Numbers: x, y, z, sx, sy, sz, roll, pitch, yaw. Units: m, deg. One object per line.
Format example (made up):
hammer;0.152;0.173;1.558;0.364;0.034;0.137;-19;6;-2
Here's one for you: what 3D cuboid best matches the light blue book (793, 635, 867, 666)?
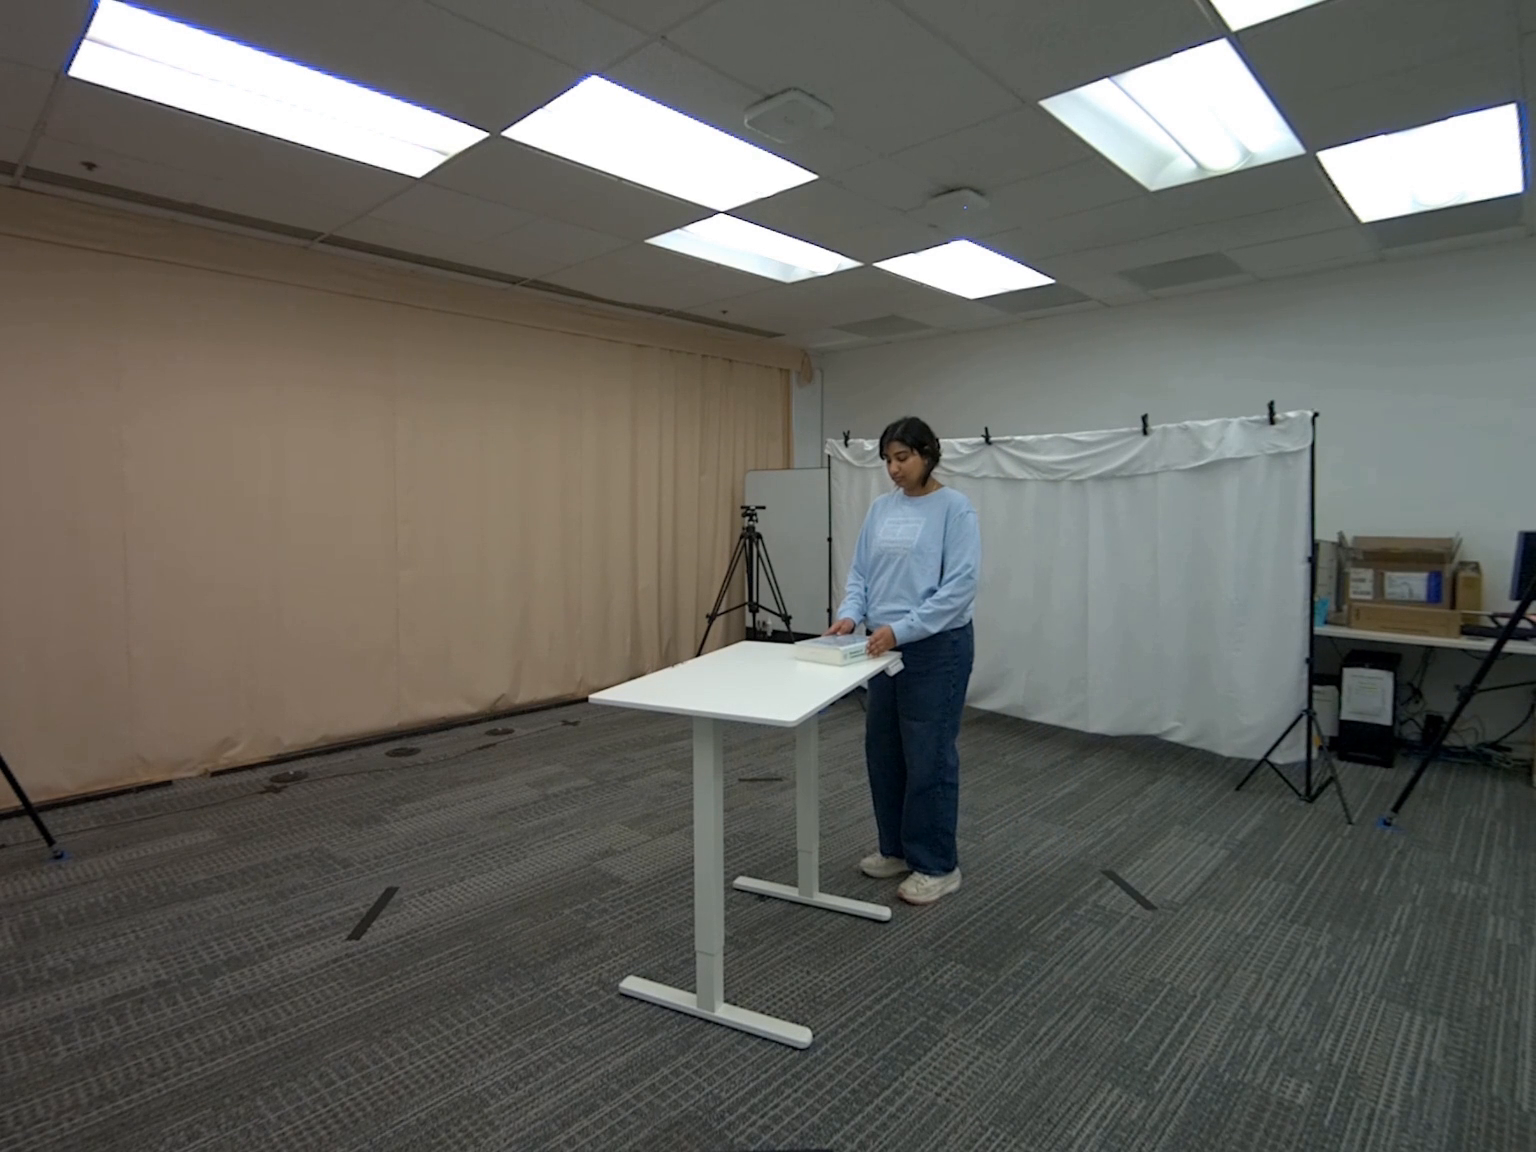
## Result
light blue book;0.244;0.257;2.781;0.198;0.059;0.253;4;4;42
